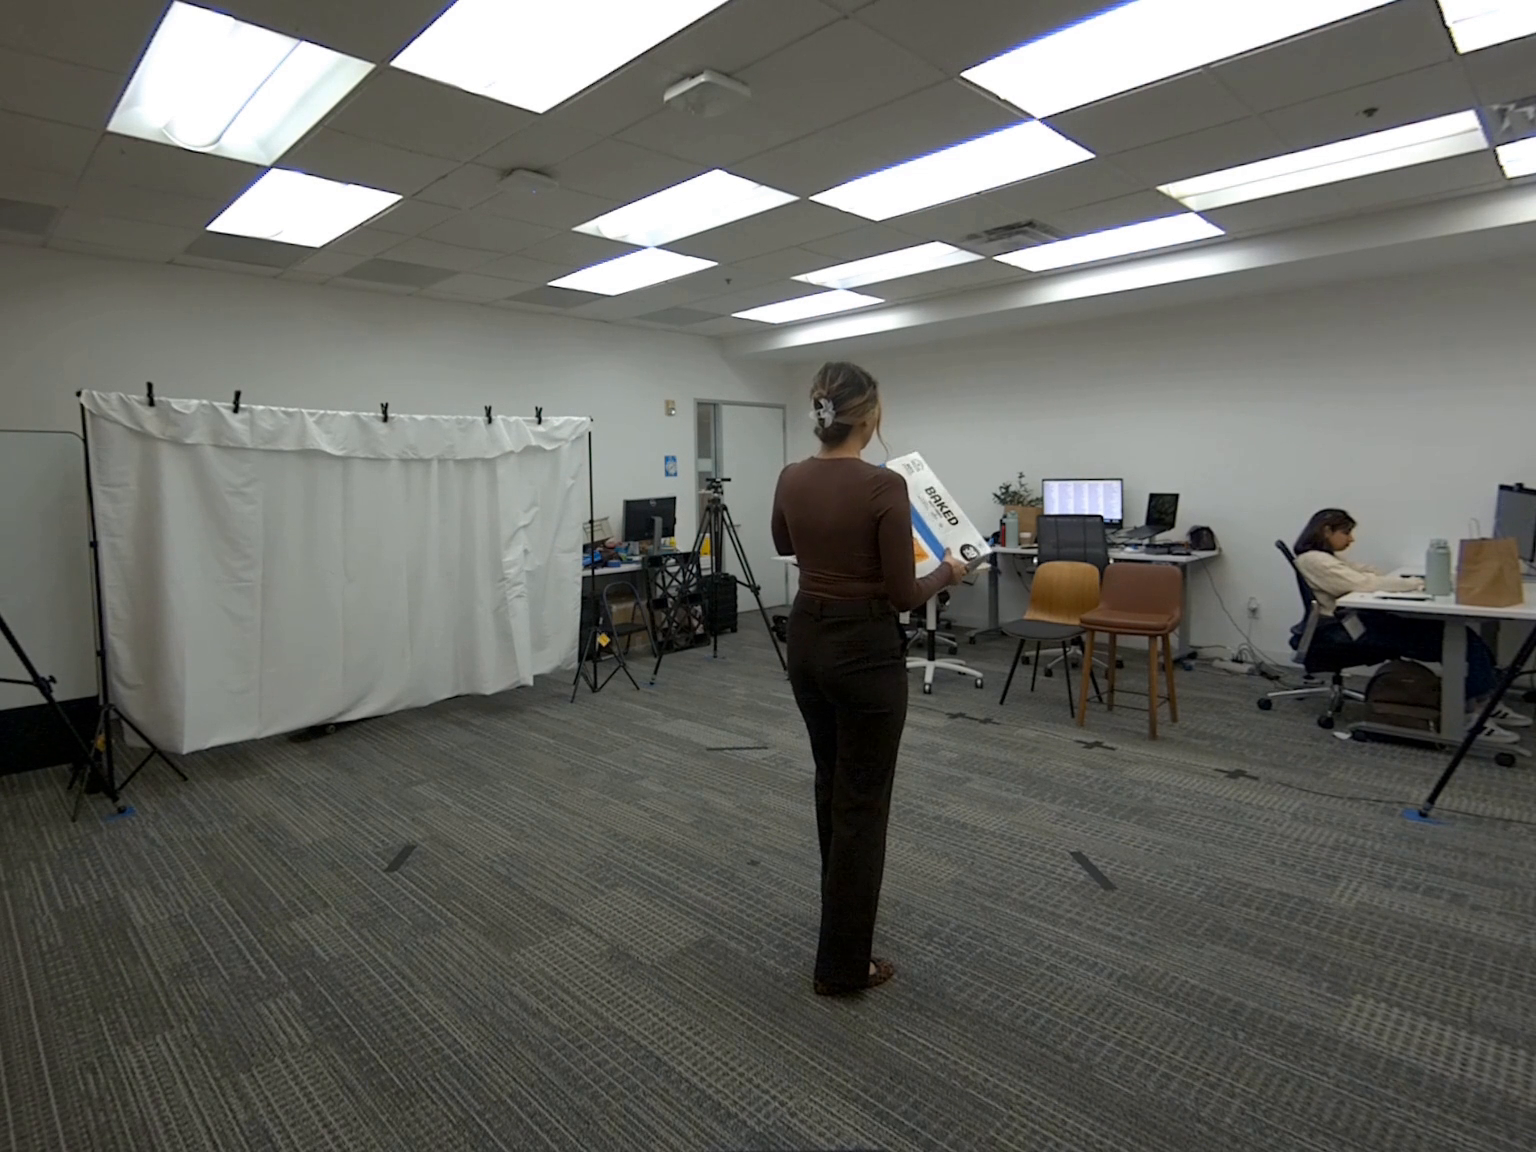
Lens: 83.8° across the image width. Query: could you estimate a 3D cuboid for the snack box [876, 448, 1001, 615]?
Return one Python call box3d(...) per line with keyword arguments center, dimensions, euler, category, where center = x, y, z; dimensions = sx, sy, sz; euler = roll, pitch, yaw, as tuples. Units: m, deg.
box3d(center=(0.429, -0.140, 2.657), dimensions=(0.335, 0.415, 0.204), euler=(-21, -21, -31), category="snack box")
